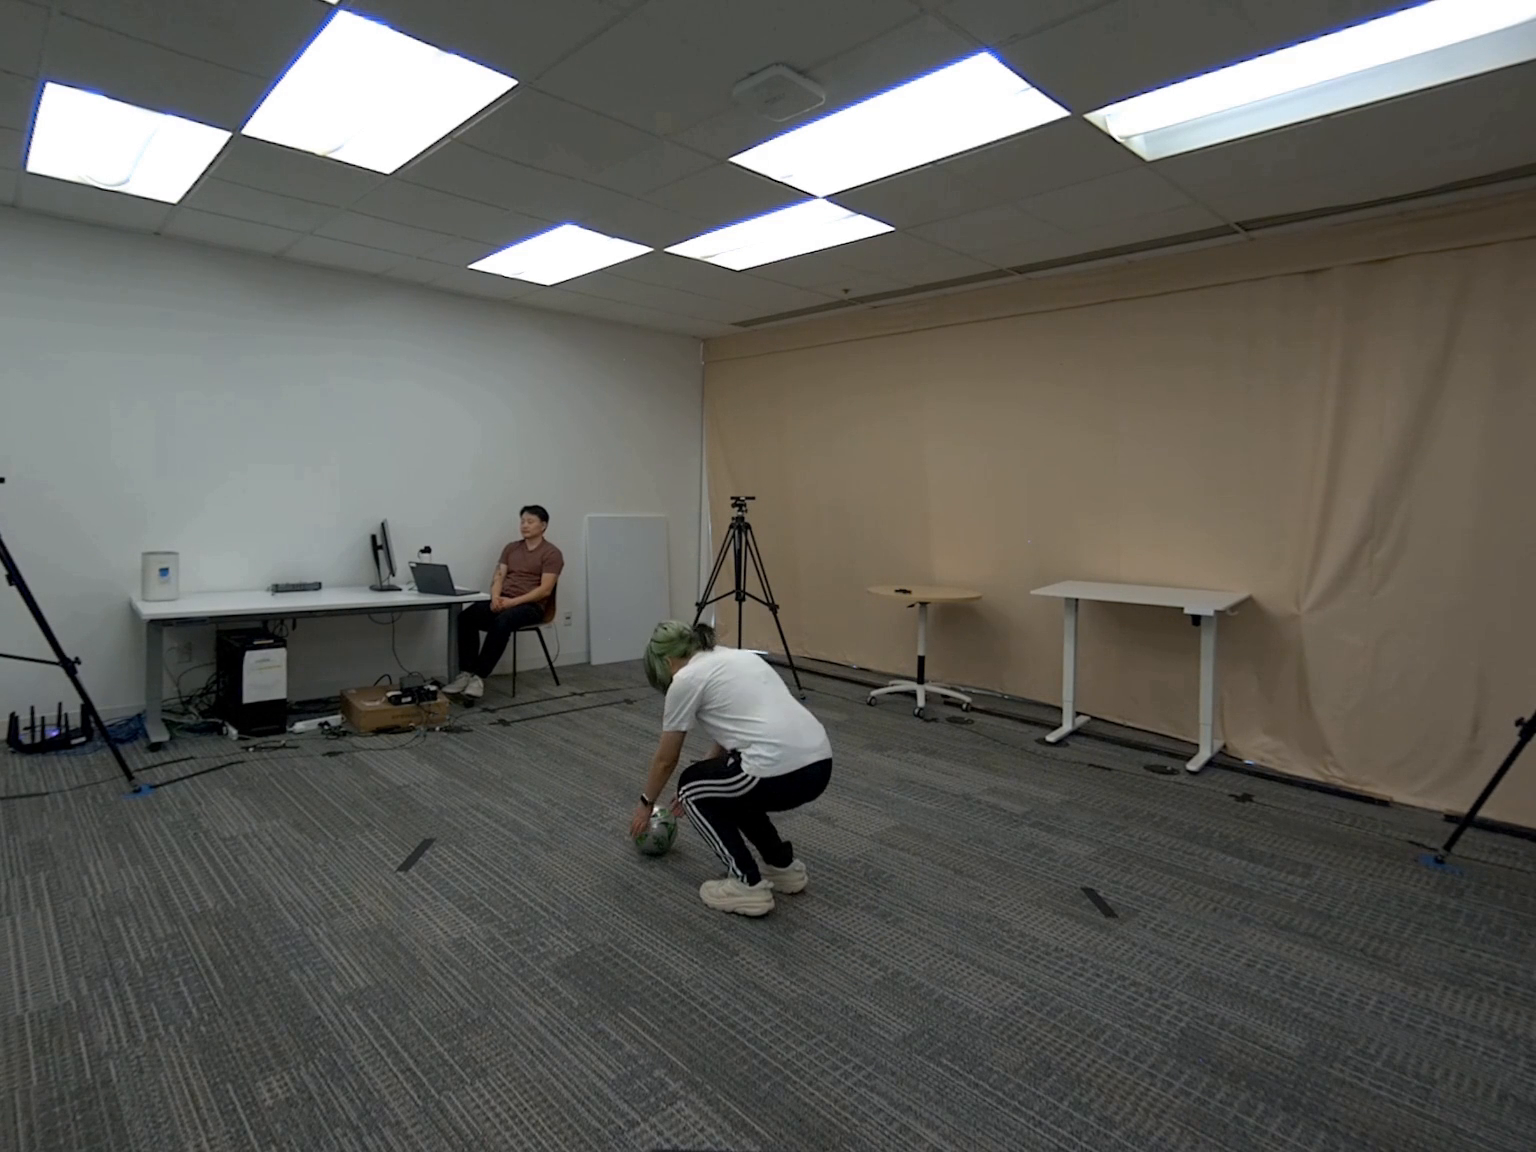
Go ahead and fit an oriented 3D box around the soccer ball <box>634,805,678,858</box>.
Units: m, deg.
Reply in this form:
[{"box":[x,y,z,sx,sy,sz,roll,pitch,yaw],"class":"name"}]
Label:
[{"box":[-0.450,0.989,3.285,0.187,0.187,0.188,1,4,-1],"class":"soccer ball"}]
